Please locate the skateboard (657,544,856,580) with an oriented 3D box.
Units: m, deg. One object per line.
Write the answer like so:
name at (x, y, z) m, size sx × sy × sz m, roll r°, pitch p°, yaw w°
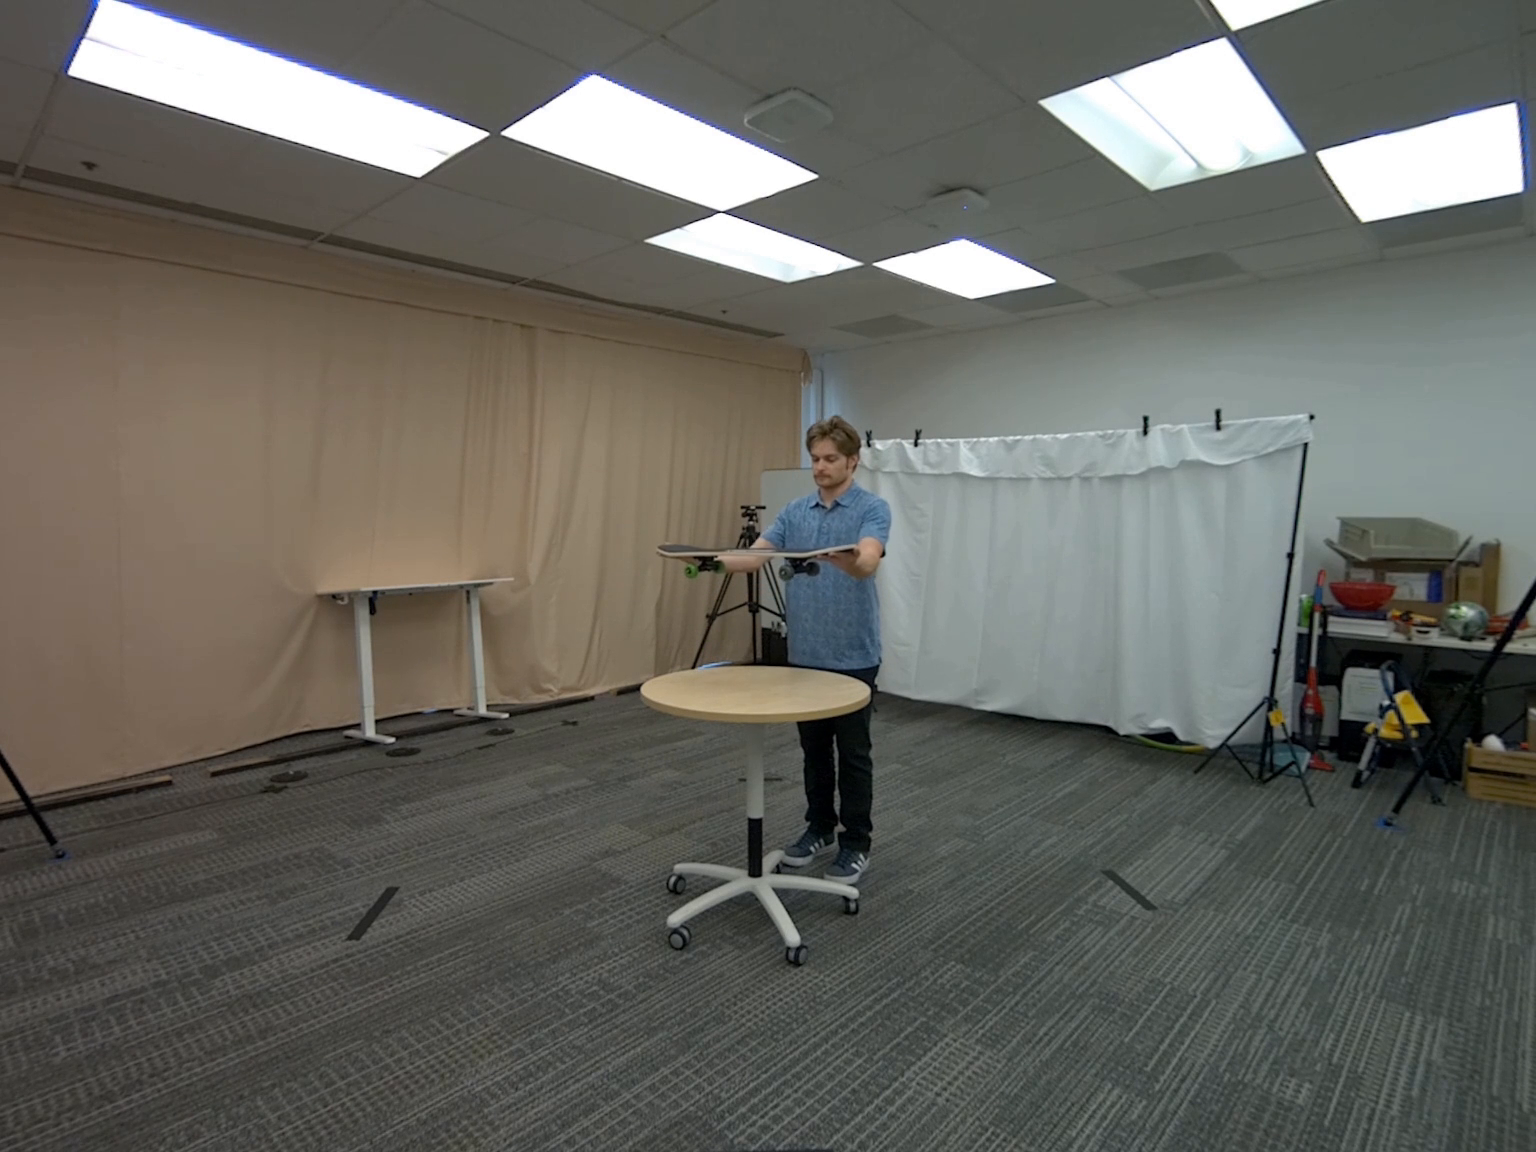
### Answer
skateboard at (-0.051, -0.044, 2.856) m, size 0.811 × 0.110 × 0.188 m, roll 2°, pitch 5°, yaw 39°
